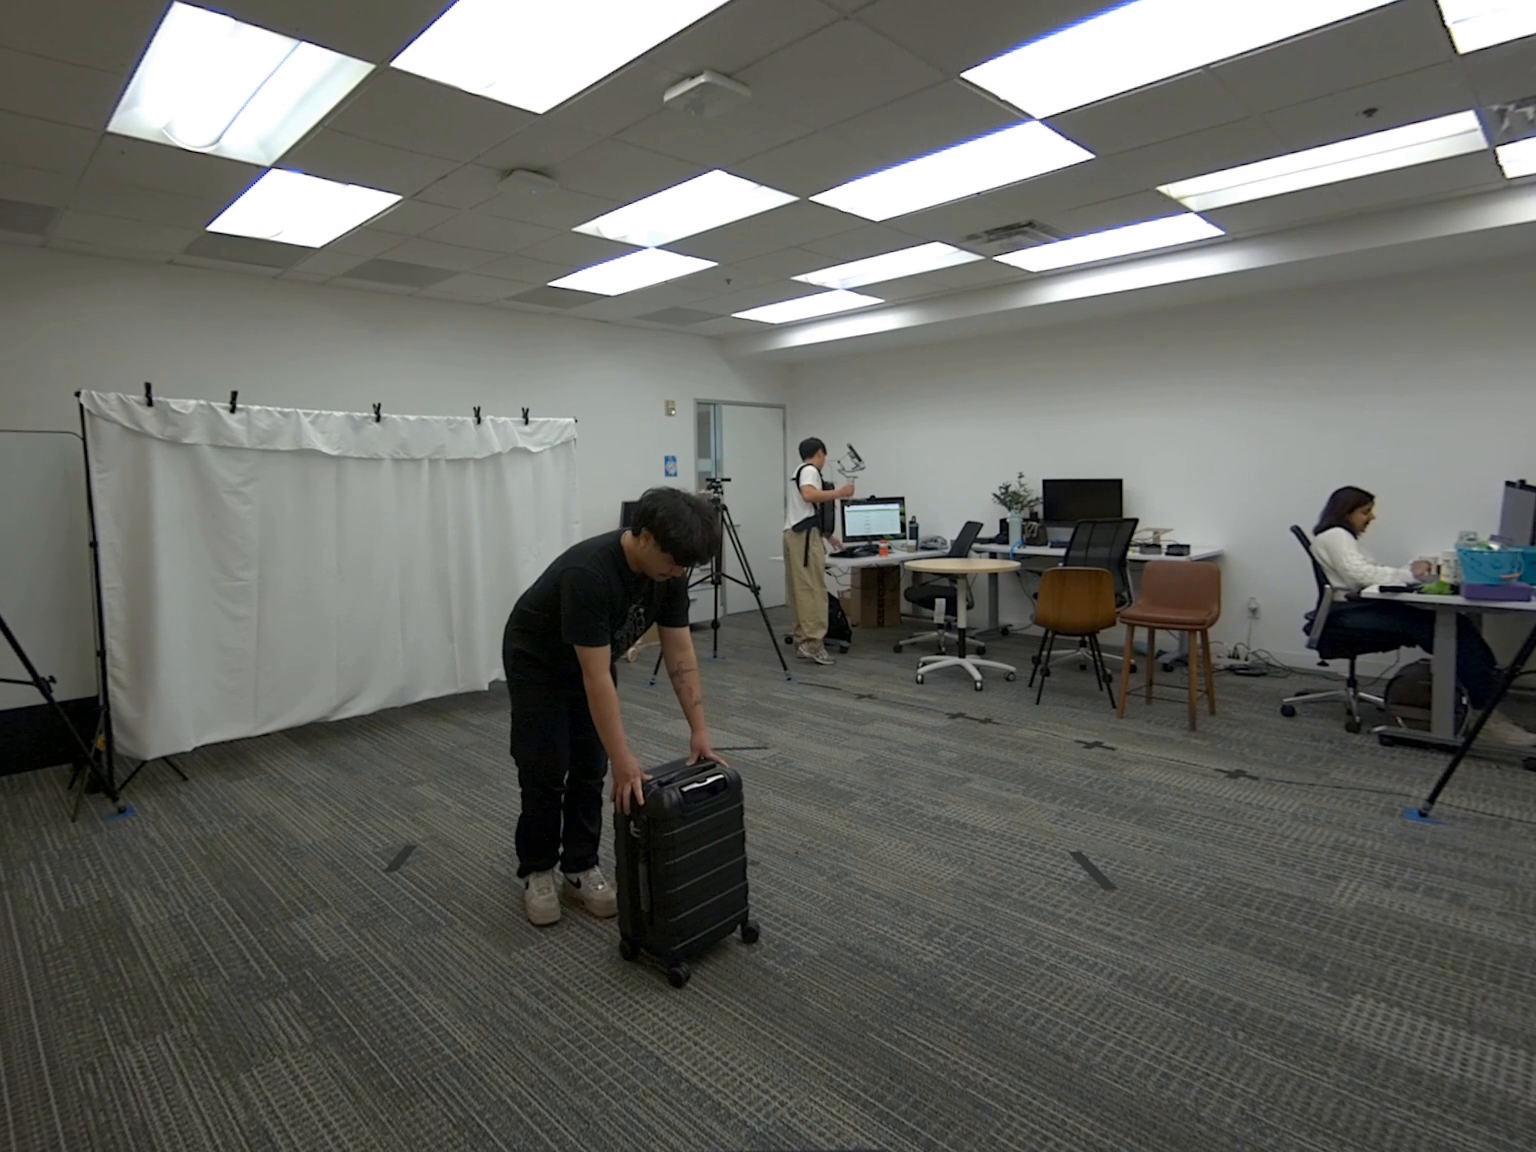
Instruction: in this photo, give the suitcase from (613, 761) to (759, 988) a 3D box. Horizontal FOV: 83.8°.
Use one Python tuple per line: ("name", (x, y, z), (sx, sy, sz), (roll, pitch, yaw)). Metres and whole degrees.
("suitcase", (-0.251, 0.843, 2.533), (0.255, 0.547, 0.366), (1, 5, 43))
